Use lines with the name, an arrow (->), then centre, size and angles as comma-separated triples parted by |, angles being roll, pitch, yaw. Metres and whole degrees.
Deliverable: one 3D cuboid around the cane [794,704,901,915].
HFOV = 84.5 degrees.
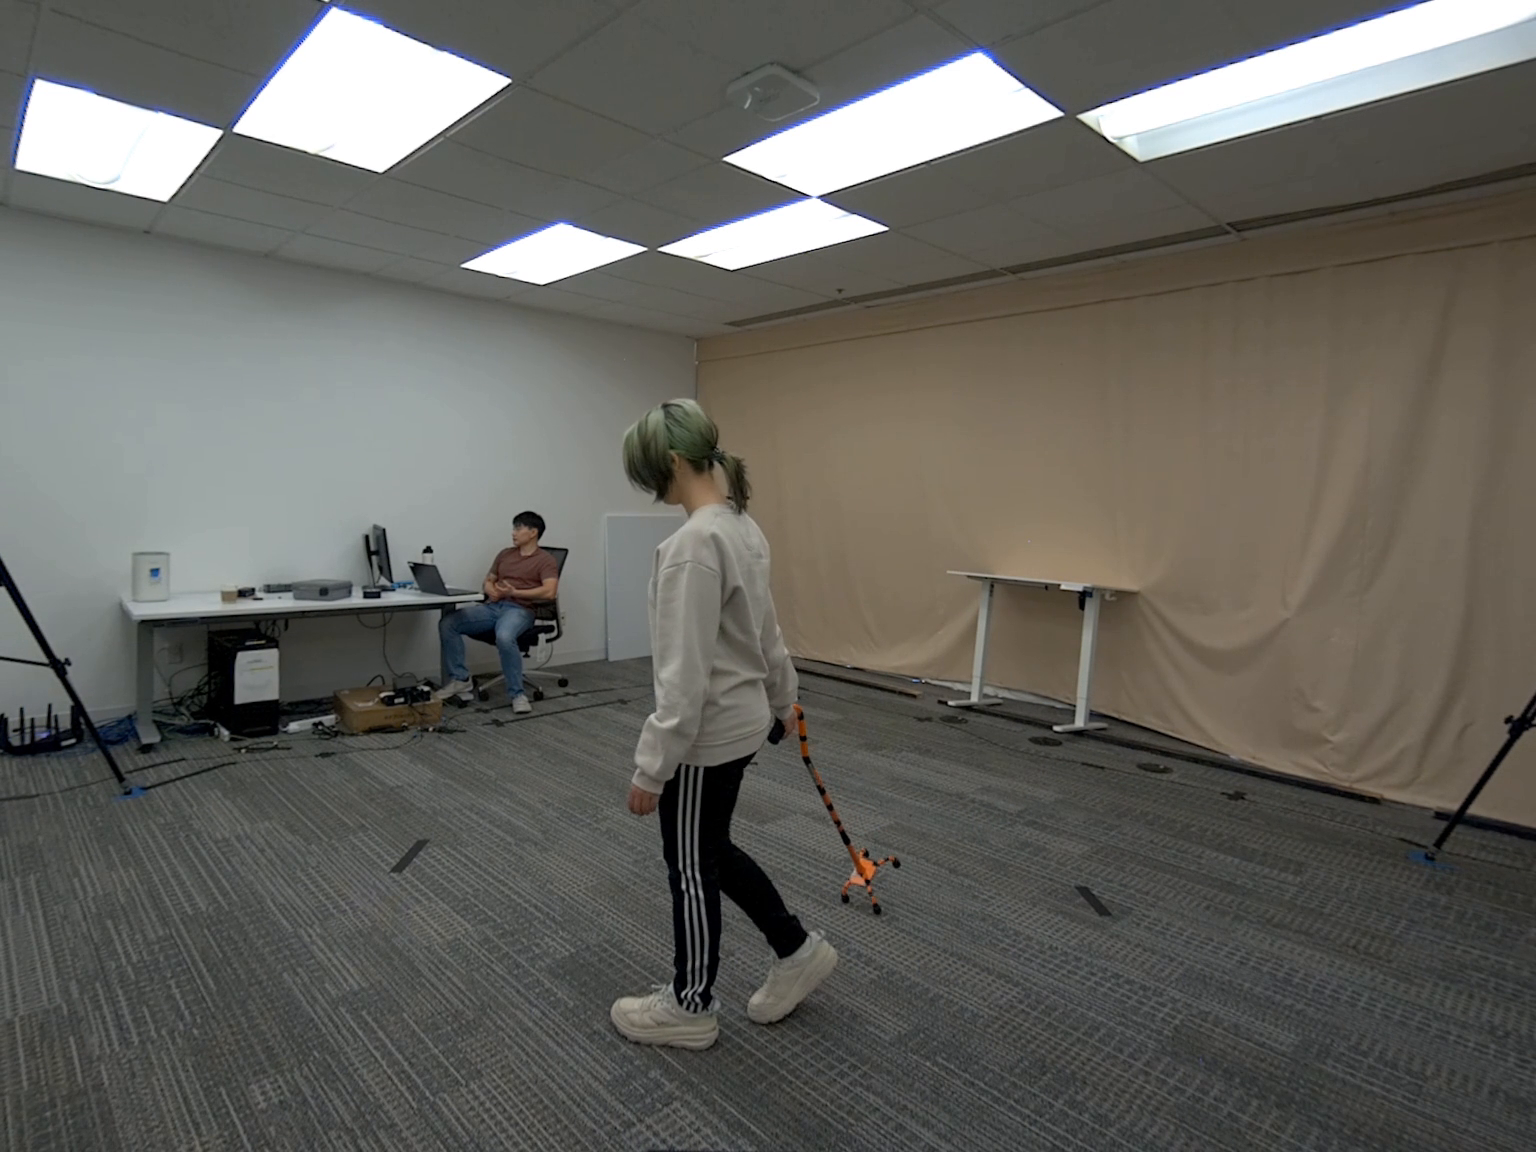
cane -> 0.212, 0.737, 2.689 | 0.155, 0.883, 0.207 | 7, 45, 36
